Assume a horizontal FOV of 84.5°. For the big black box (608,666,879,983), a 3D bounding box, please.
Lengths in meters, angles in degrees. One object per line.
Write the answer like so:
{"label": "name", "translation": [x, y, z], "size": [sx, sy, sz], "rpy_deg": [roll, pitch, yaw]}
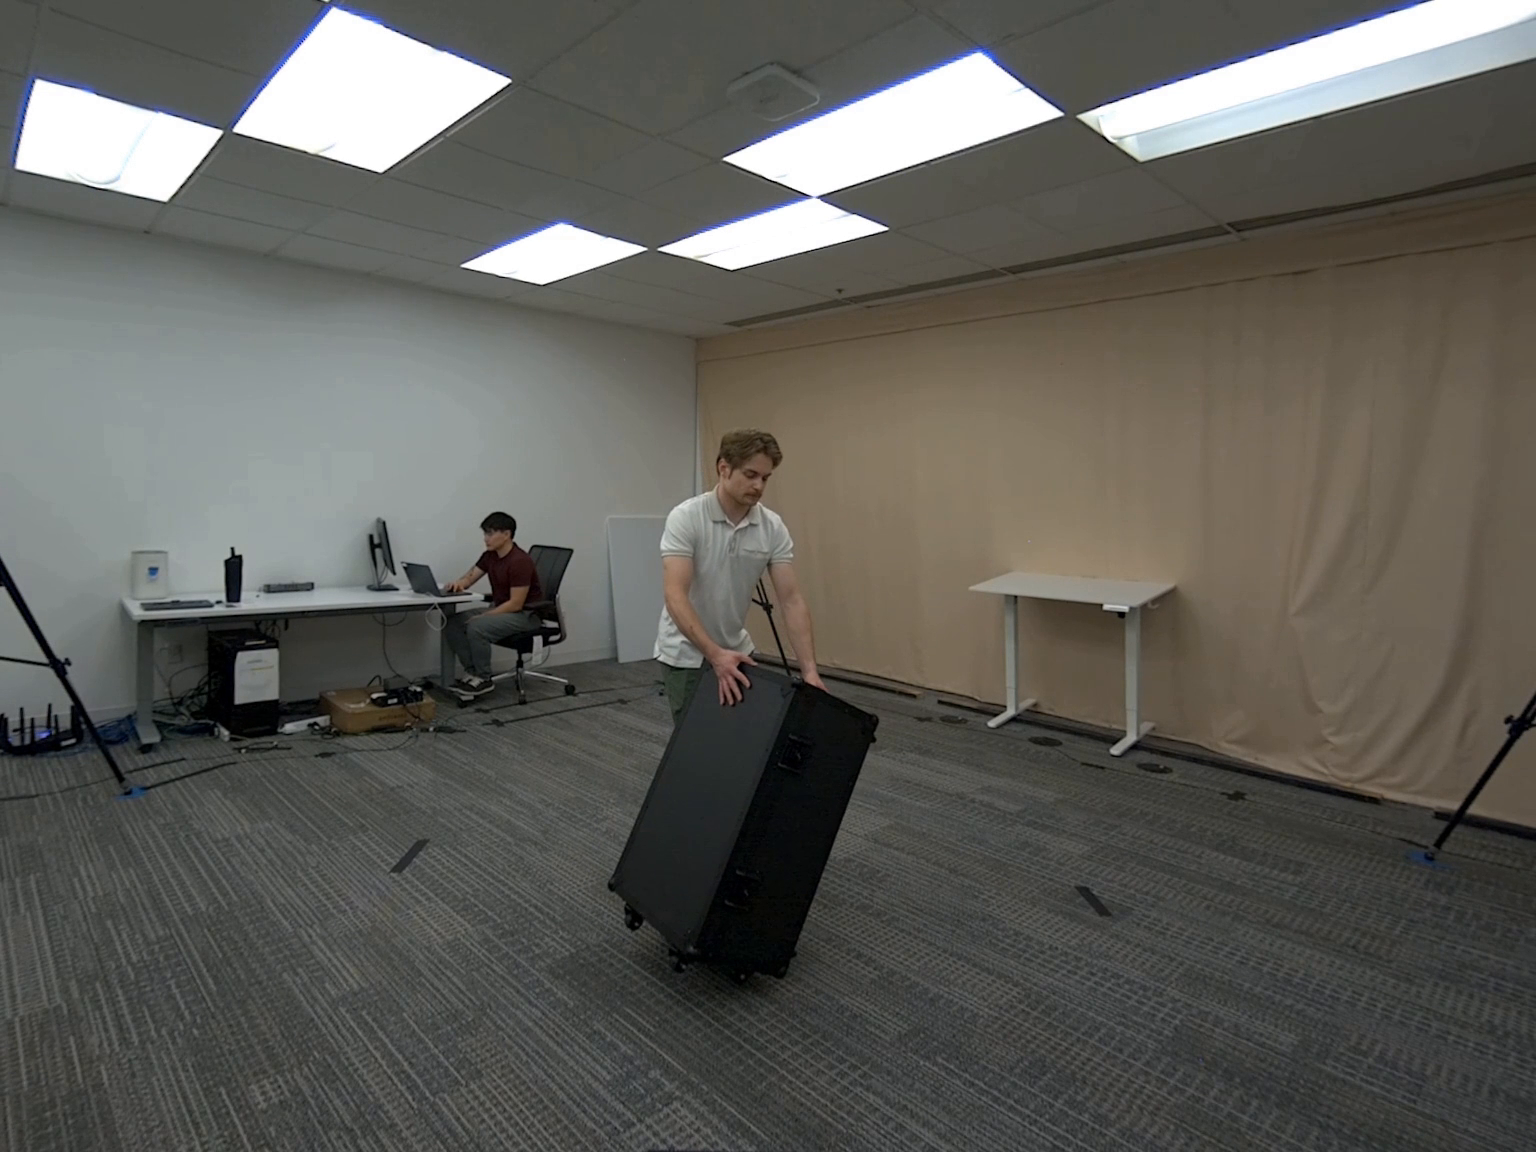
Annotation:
{"label": "big black box", "translation": [-0.094, 0.726, 2.550], "size": [0.374, 0.872, 0.537], "rpy_deg": [30, -13, -35]}
